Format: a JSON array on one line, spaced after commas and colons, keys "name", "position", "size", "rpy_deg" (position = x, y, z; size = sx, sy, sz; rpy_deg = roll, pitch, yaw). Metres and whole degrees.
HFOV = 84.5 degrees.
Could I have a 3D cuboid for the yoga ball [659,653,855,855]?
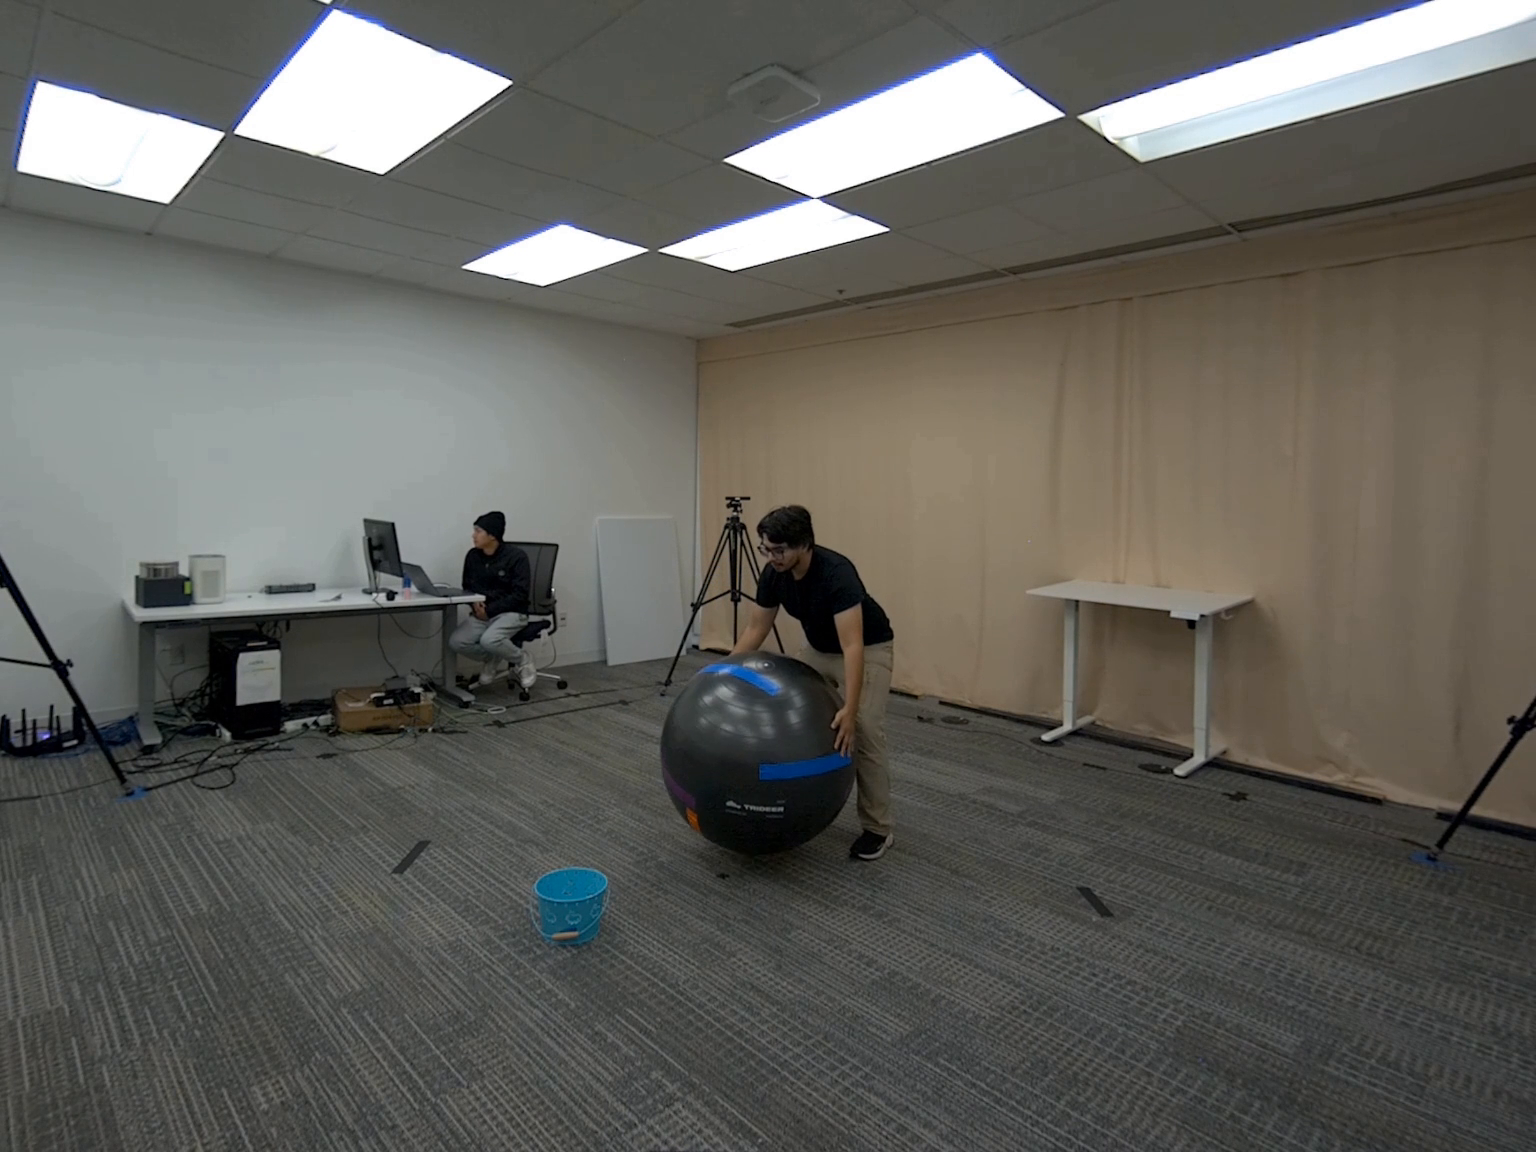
[{"name": "yoga ball", "position": [-0.043, 0.673, 3.237], "size": [0.757, 0.756, 0.760], "rpy_deg": [1, 4, -1]}]
